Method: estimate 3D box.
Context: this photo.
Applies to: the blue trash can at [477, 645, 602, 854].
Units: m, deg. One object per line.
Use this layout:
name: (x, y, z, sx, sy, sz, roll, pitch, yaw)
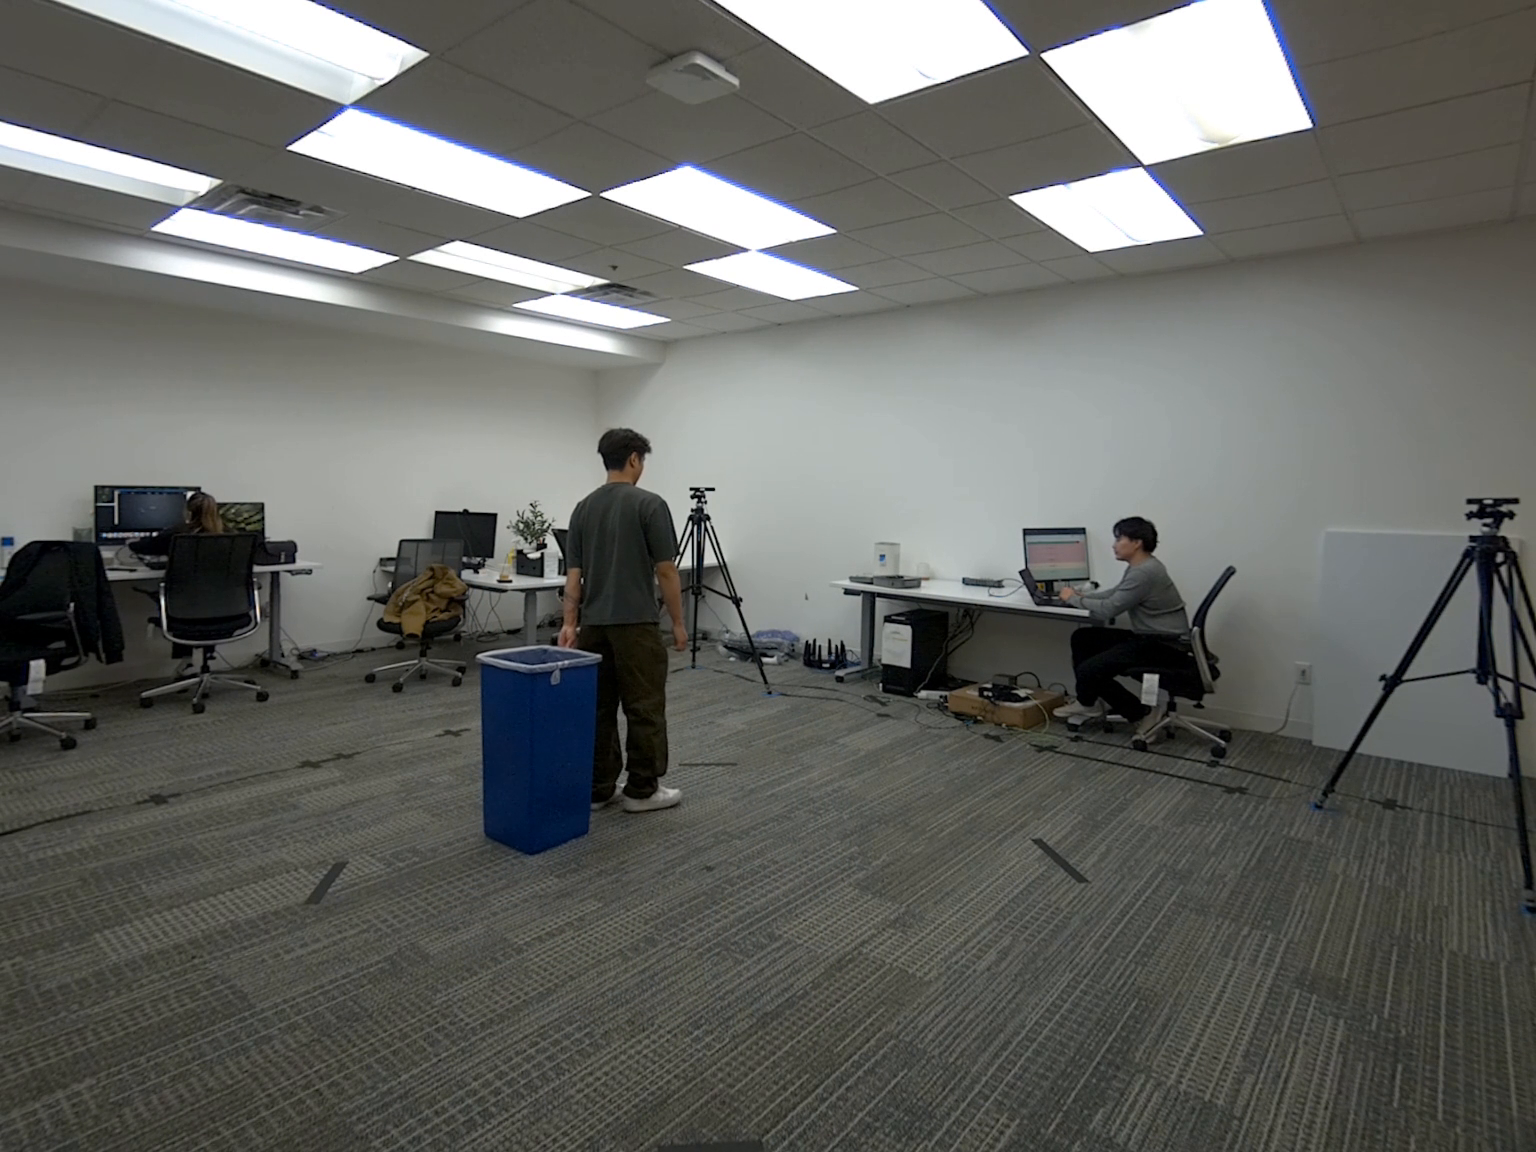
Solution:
blue trash can: (-0.935, 0.666, 3.386, 0.386, 0.712, 0.367, 4, 3, 37)
